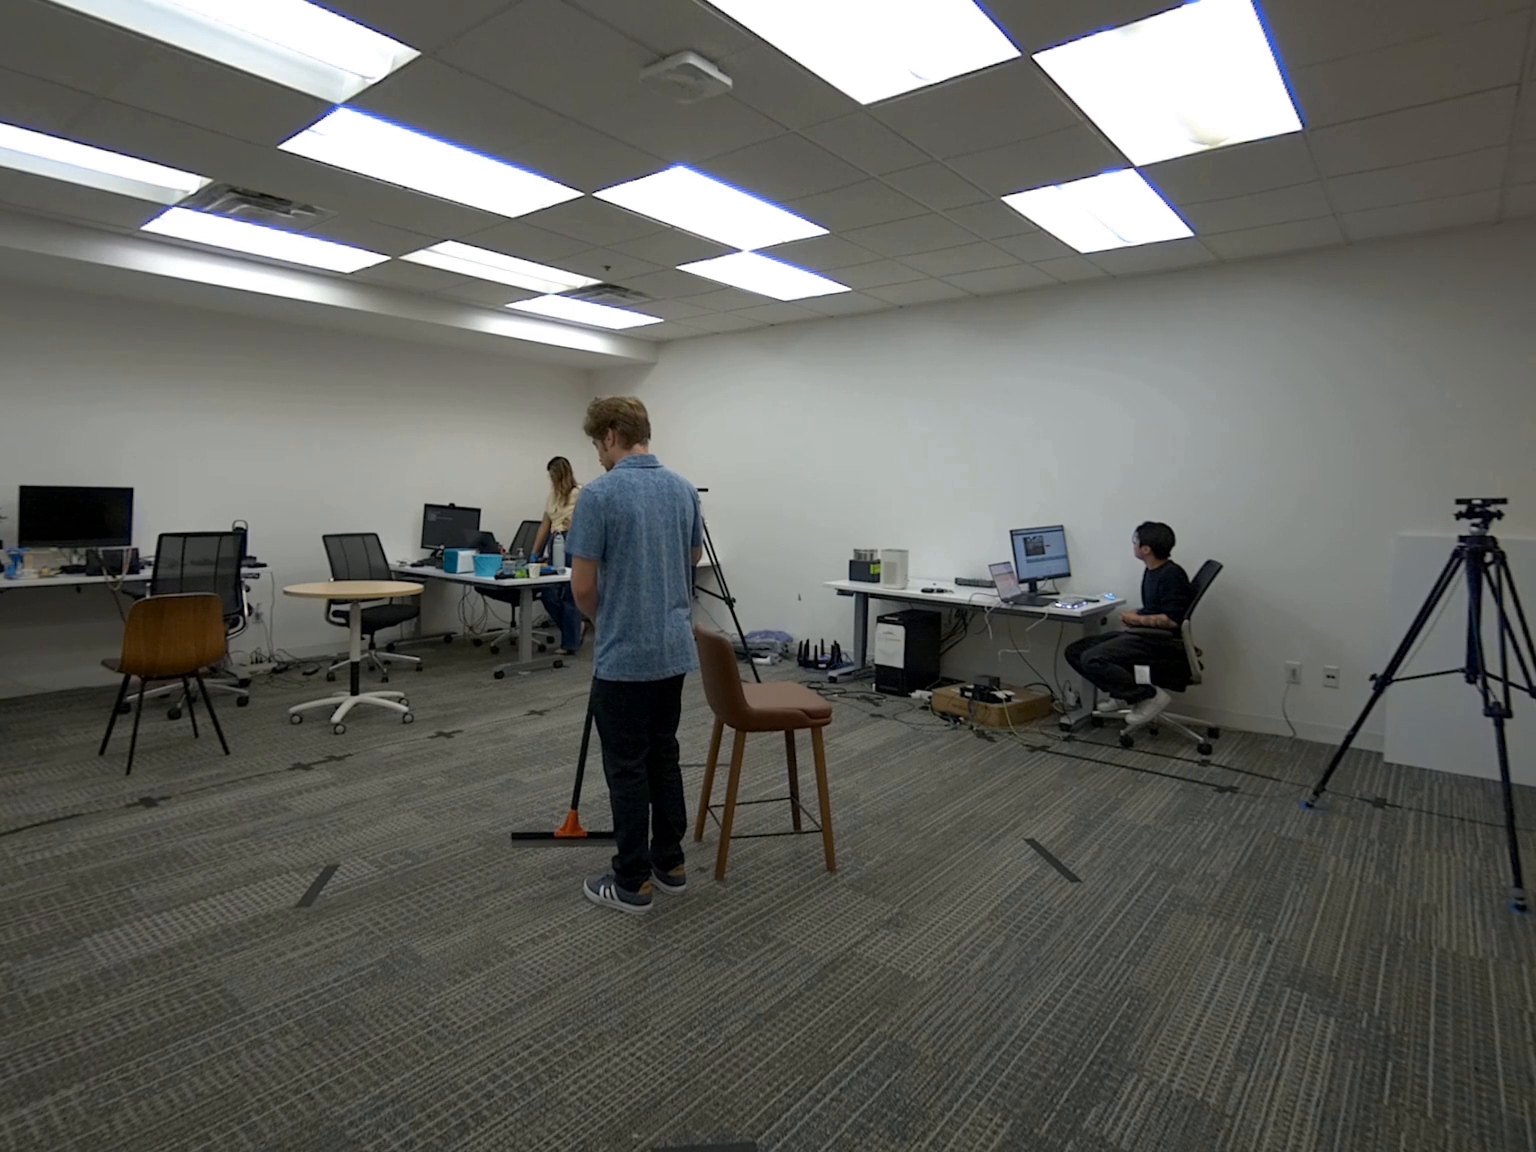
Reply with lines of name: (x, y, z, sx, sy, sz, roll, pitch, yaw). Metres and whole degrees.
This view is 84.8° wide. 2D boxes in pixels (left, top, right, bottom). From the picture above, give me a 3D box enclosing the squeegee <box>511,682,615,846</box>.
squeegee: (-0.620, 0.233, 3.093, 0.431, 1.541, 0.053, 8, -3, -13)
